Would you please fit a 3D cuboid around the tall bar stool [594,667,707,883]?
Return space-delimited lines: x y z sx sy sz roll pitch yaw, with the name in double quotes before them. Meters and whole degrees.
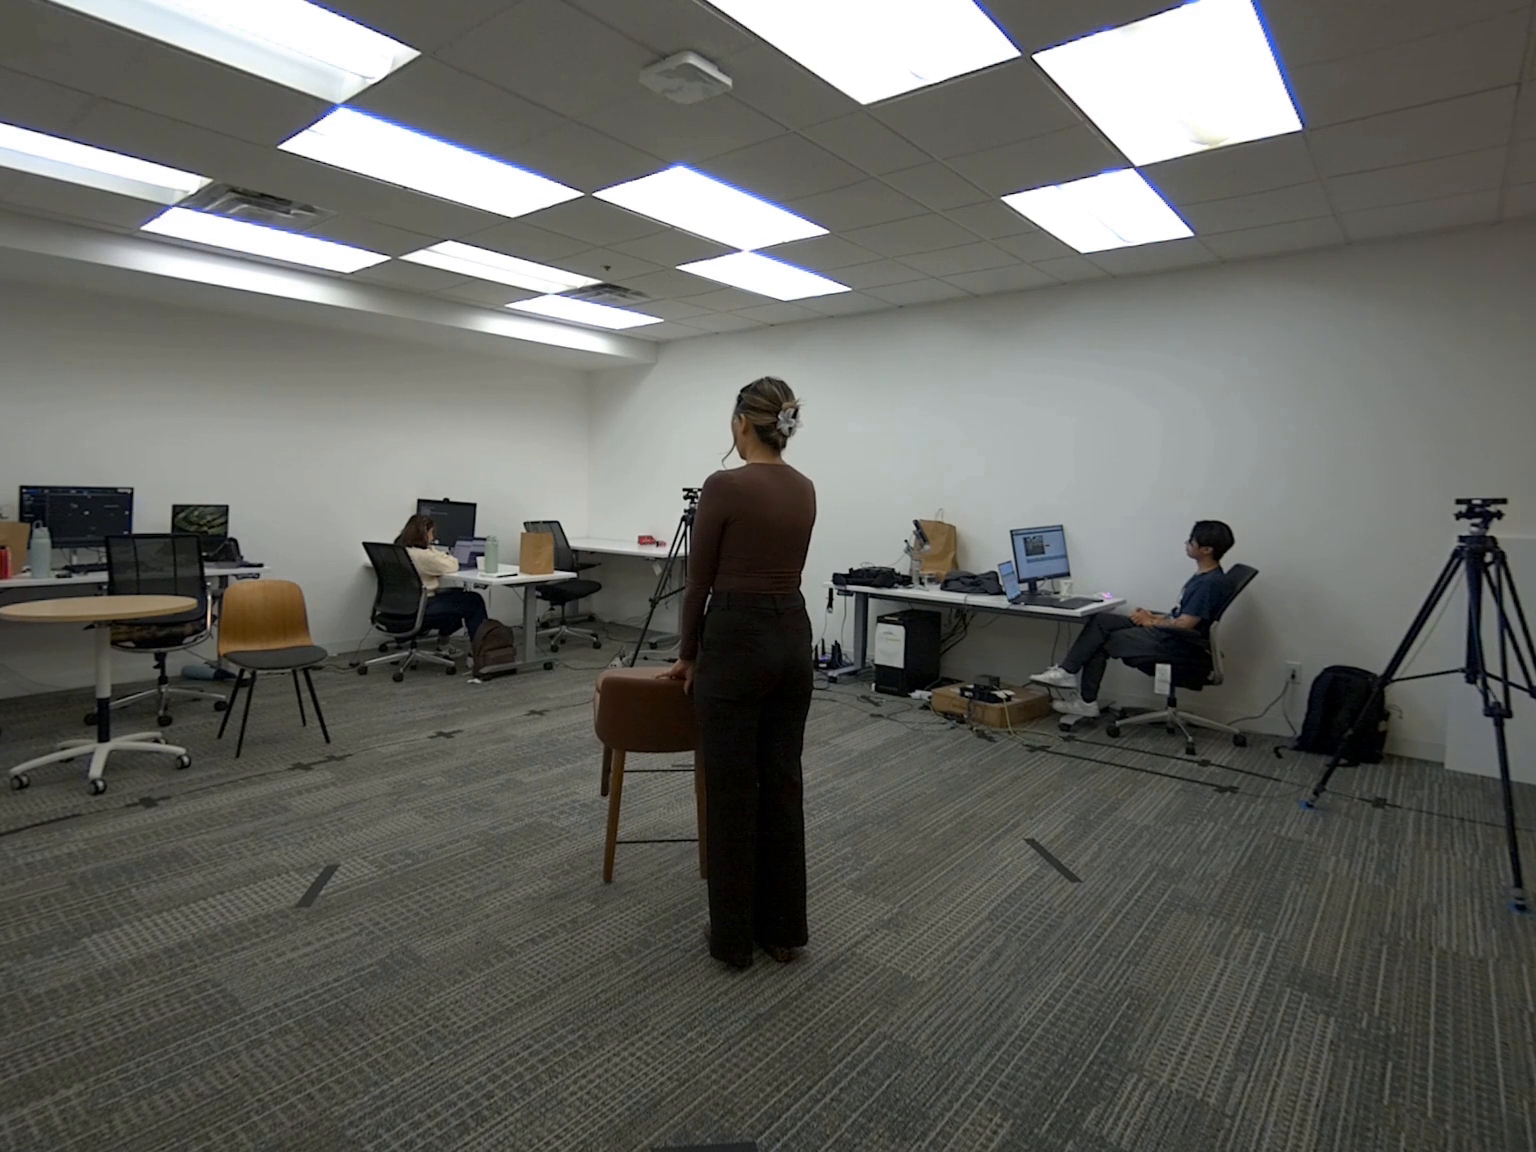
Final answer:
"tall bar stool" -0.403 0.592 3.017 0.453 0.871 0.481 1 28 -8
